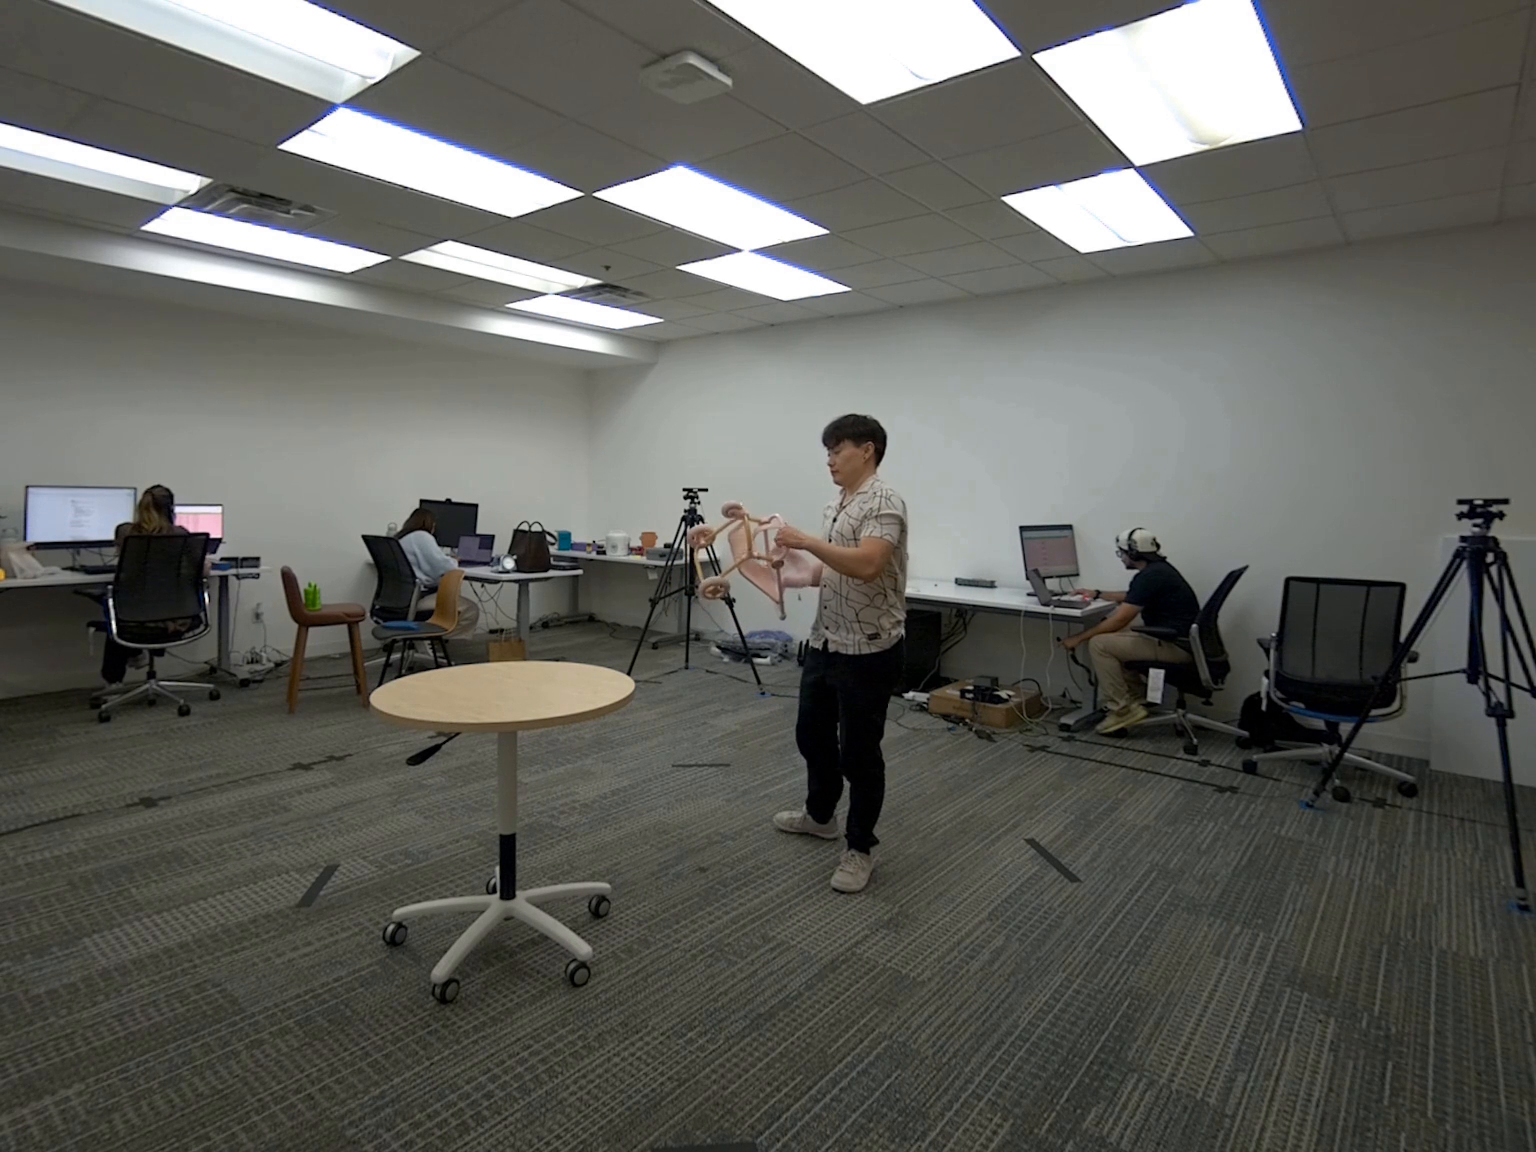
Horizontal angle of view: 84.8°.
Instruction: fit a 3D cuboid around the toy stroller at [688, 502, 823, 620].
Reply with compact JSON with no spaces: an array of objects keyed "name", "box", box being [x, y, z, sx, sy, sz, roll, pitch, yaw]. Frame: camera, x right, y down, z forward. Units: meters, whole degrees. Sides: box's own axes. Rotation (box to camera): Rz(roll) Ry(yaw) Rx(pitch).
[{"name":"toy stroller","box":[-0.052,-0.069,3.046,0.515,0.341,0.292,24,31,-35]}]
